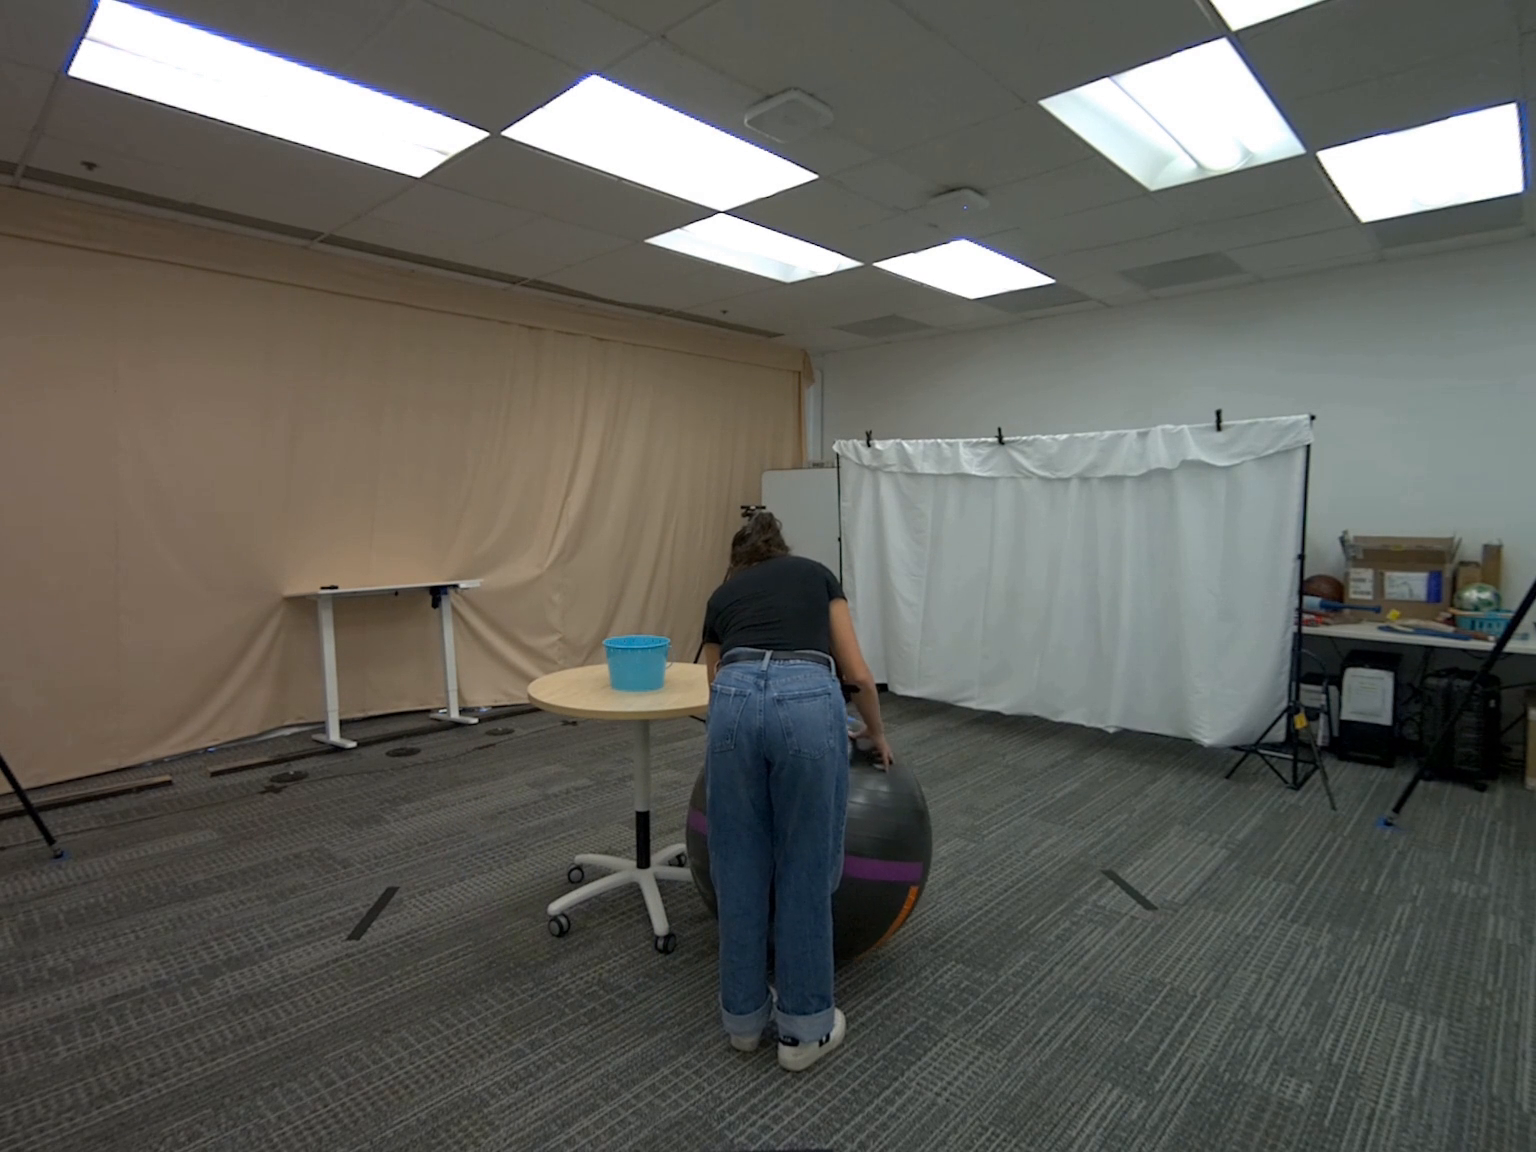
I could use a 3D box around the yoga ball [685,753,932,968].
[{"bbox_3d":[0.131,0.811,2.626,0.757,0.756,0.760,0,4,-2],"label":"yoga ball"}]
